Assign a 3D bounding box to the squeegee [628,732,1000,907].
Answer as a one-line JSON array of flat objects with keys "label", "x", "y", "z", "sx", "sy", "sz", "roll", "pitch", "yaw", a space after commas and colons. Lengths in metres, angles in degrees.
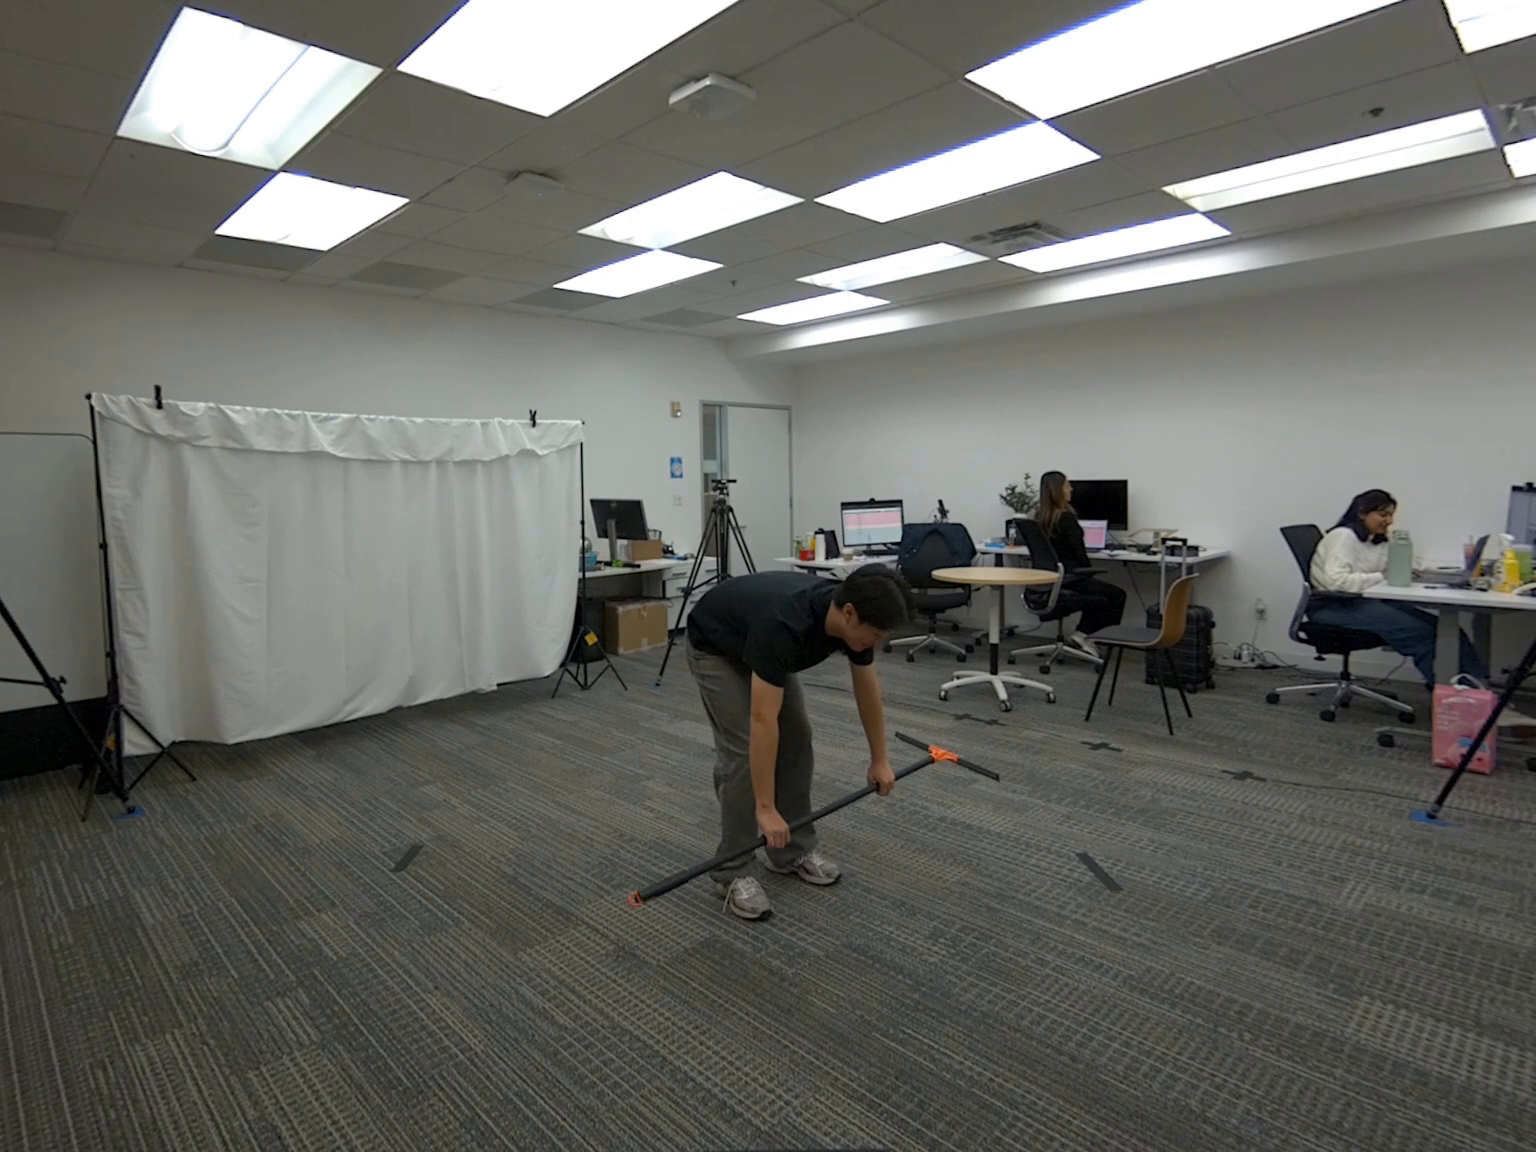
[{"label": "squeegee", "x": 0.173, "y": 0.740, "z": 2.700, "sx": 0.453, "sy": 0.052, "sz": 1.499, "roll": 18, "pitch": 18, "yaw": 41}]
